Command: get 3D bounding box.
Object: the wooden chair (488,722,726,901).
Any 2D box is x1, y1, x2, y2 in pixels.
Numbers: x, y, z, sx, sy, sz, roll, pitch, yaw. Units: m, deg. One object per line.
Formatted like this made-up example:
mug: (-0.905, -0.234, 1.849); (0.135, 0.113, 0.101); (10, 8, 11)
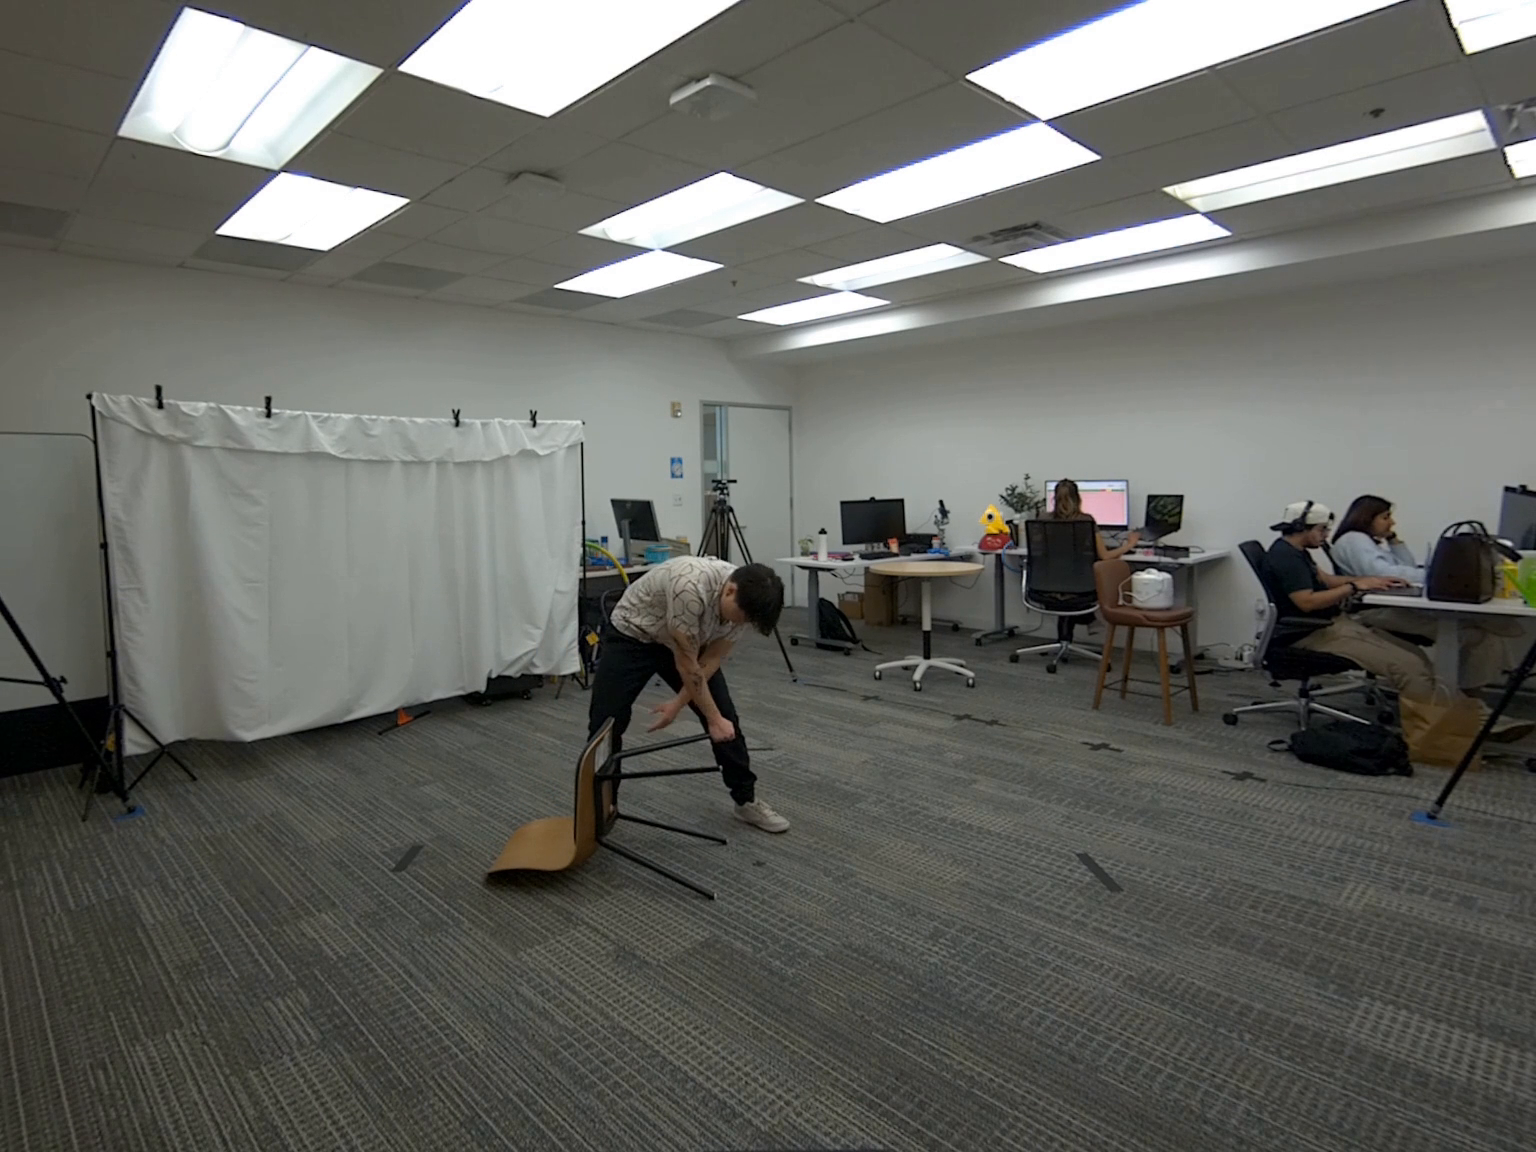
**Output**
wooden chair: (-0.588, 0.805, 3.093); (0.882, 0.521, 0.478); (-2, 5, 5)
